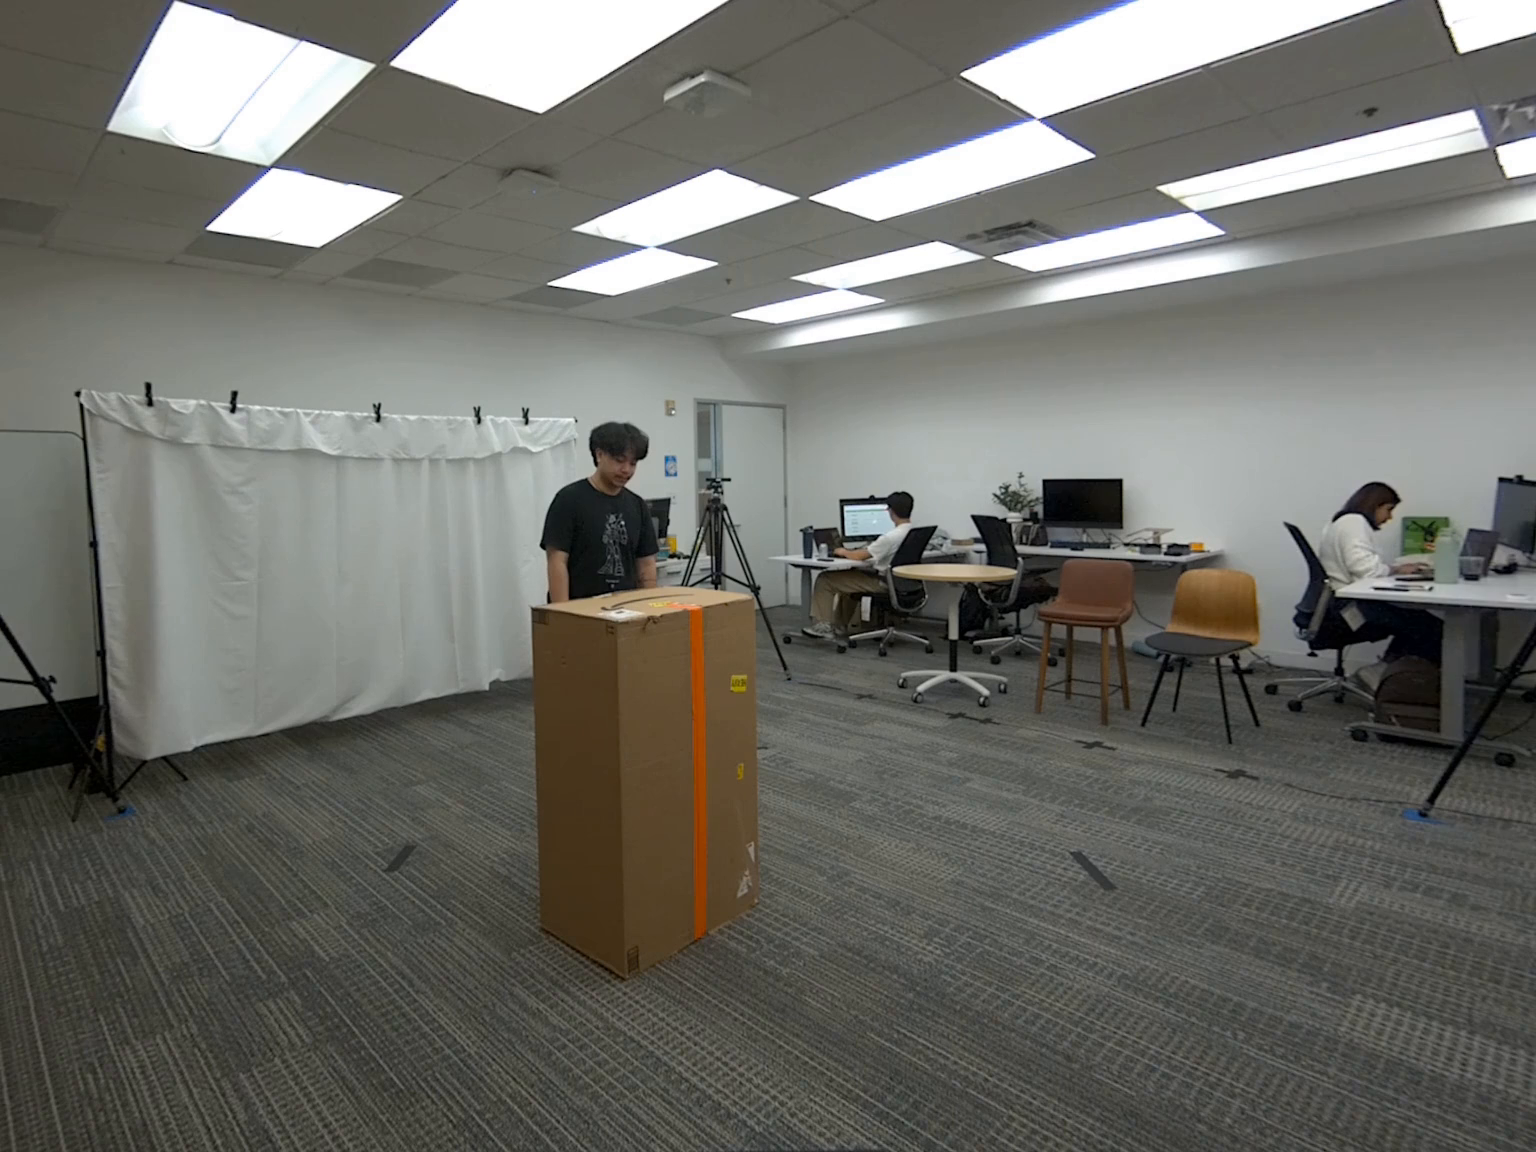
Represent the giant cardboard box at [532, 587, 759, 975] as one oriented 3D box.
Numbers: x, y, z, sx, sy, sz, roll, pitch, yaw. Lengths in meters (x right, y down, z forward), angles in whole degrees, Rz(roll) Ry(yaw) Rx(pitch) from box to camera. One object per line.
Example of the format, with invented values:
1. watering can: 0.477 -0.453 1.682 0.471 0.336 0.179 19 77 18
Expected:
1. giant cardboard box: -0.376 0.584 2.709 0.461 1.023 0.568 4 6 43
